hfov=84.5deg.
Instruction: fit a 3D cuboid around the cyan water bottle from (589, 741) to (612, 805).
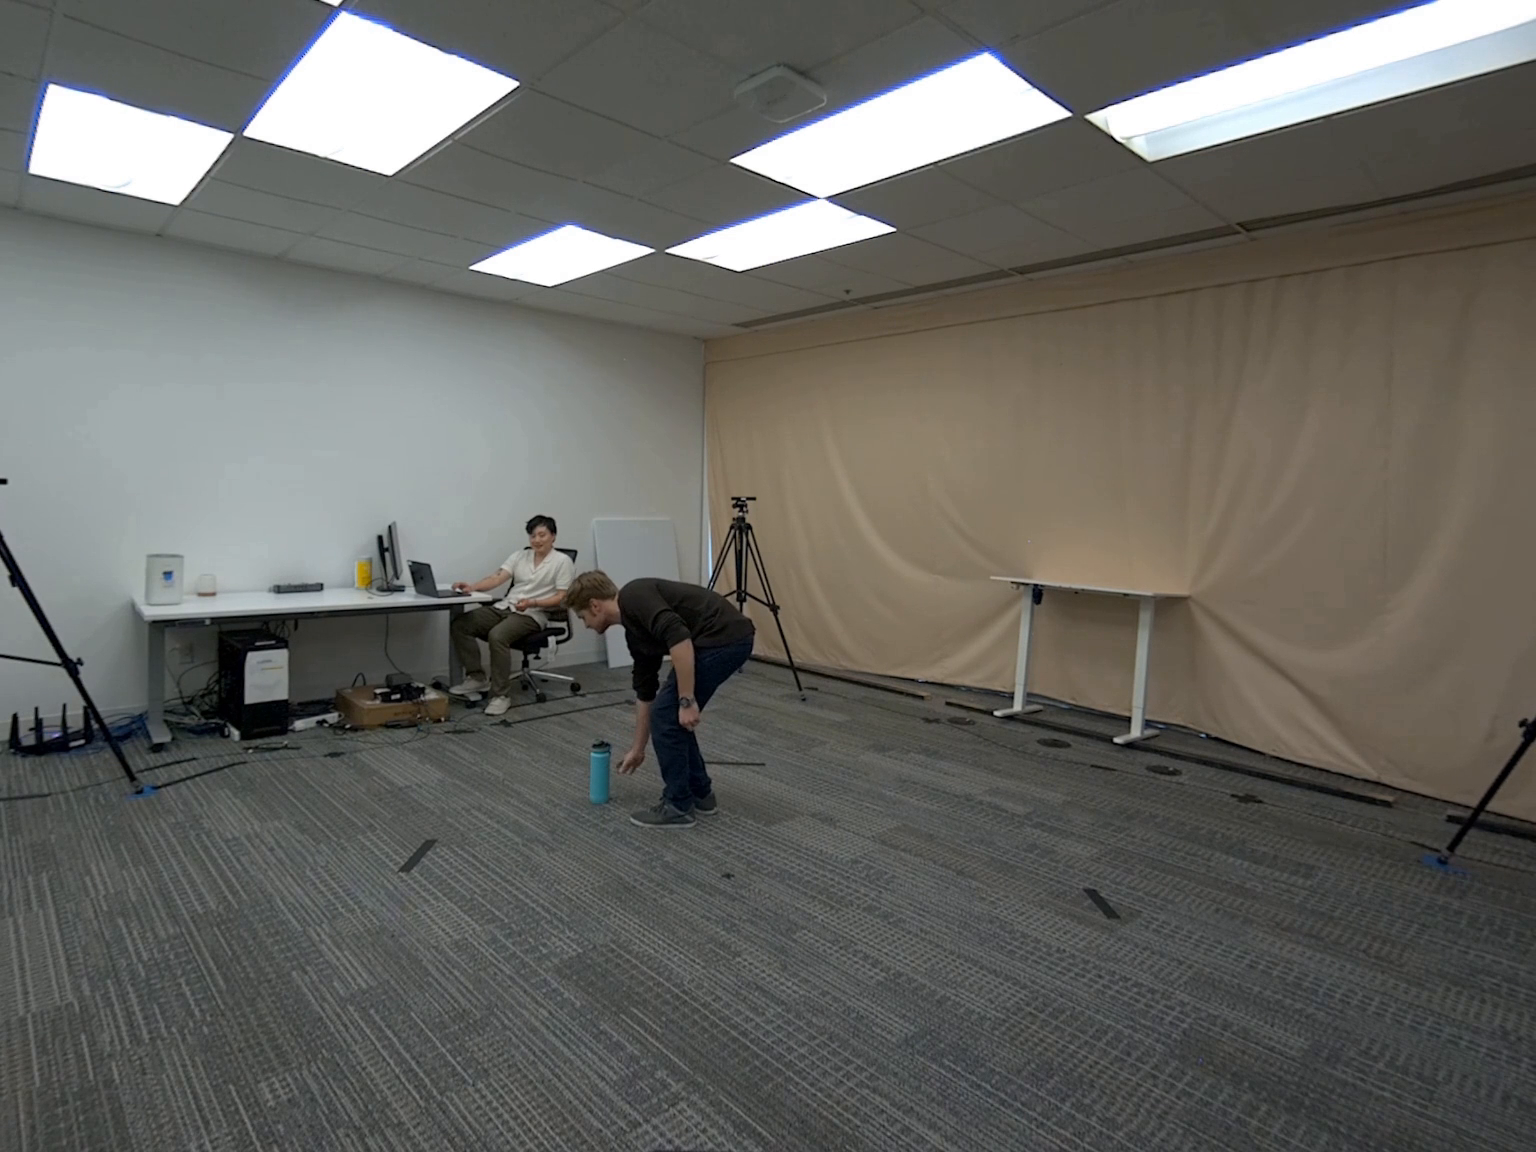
[{"bbox_3d":[-0.772,0.883,3.844,0.092,0.283,0.092,2,3,-2],"label":"cyan water bottle"}]
